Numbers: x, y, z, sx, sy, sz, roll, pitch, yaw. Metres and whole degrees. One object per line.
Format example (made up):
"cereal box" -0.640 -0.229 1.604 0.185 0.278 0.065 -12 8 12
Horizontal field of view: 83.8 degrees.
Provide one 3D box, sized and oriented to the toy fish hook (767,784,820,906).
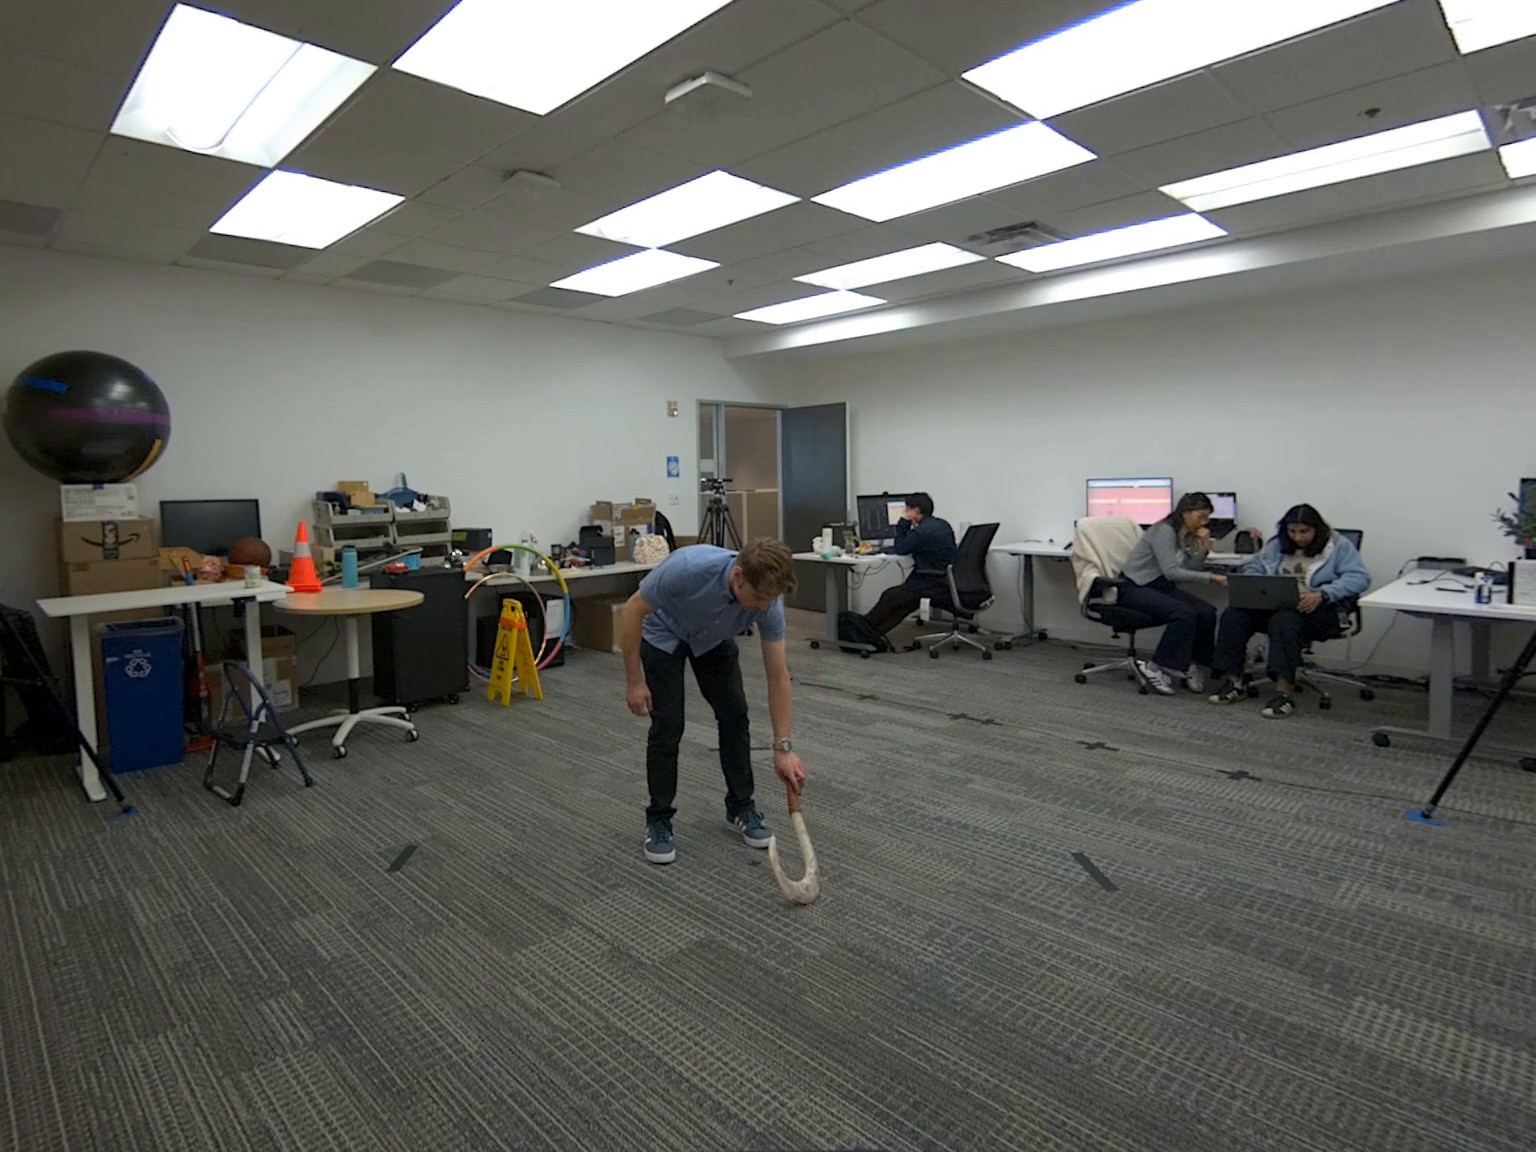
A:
"toy fish hook" 0.082 0.858 2.947 0.048 0.522 0.216 -35 -46 28
